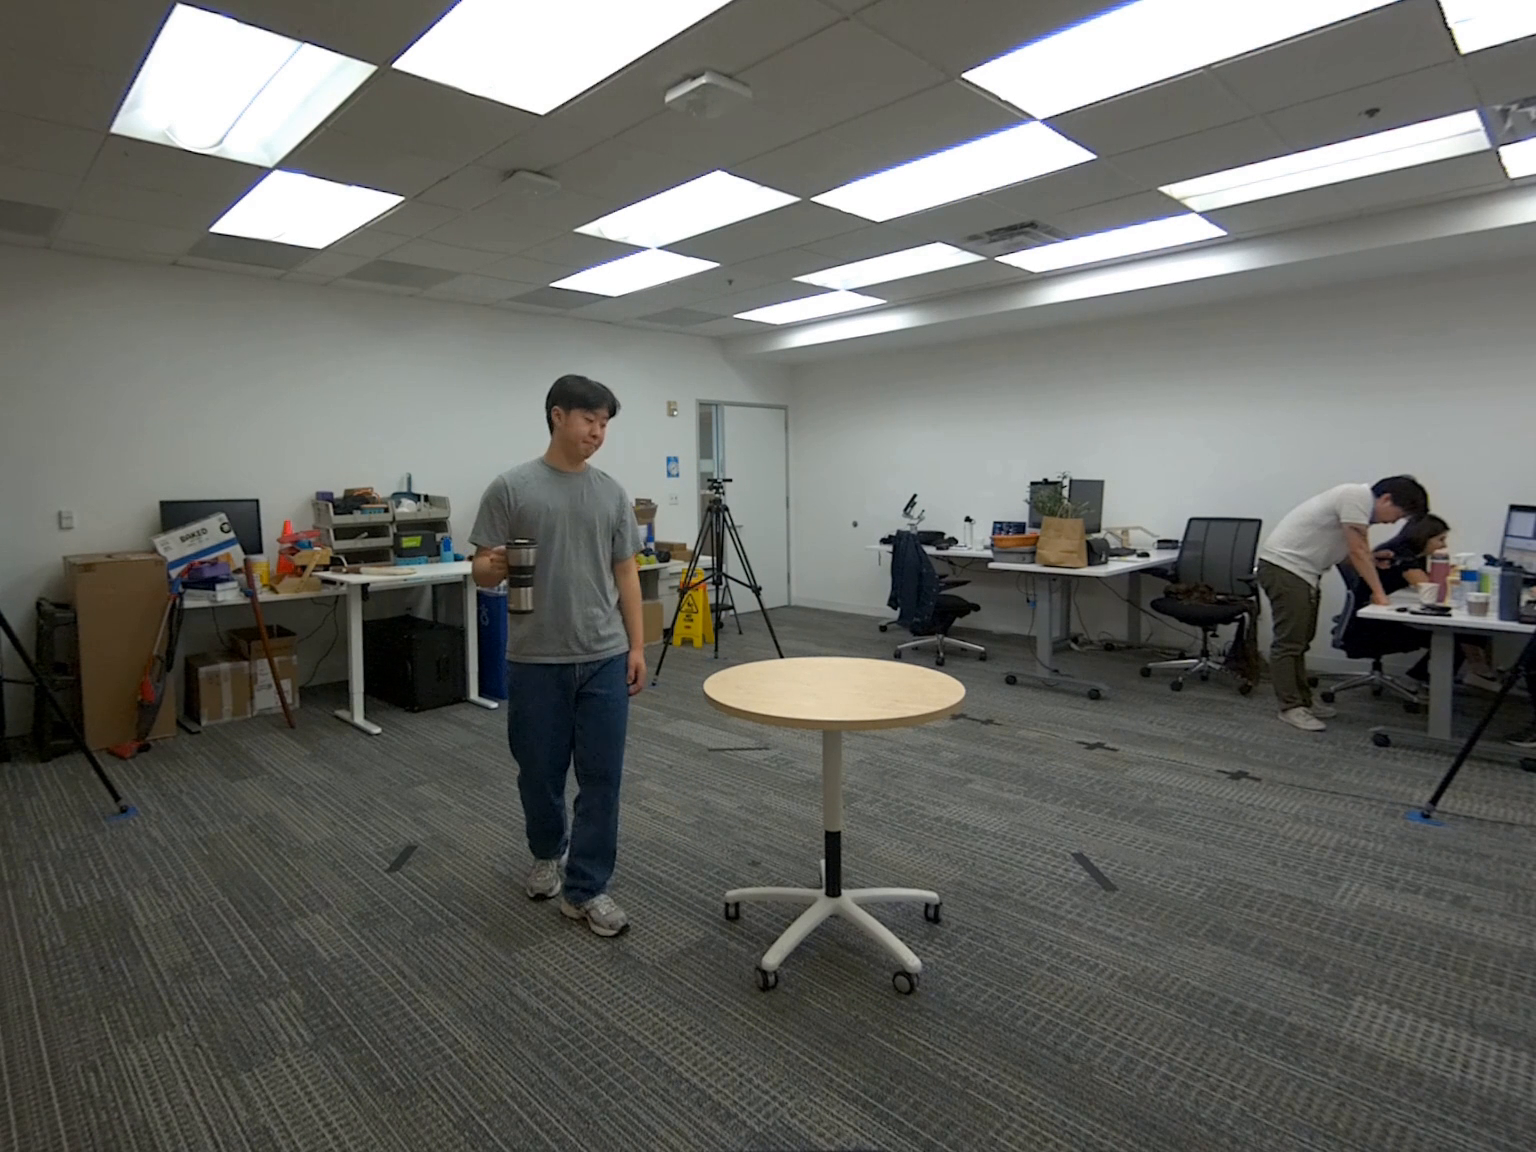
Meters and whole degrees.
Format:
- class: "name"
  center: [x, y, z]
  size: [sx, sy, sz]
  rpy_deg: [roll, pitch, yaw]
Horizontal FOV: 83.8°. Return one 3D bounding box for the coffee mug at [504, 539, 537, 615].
- class: "coffee mug"
  center: [-0.703, 0.003, 2.367]
  size: [0.086, 0.202, 0.126]
  rpy_deg: [-1, 7, -33]
